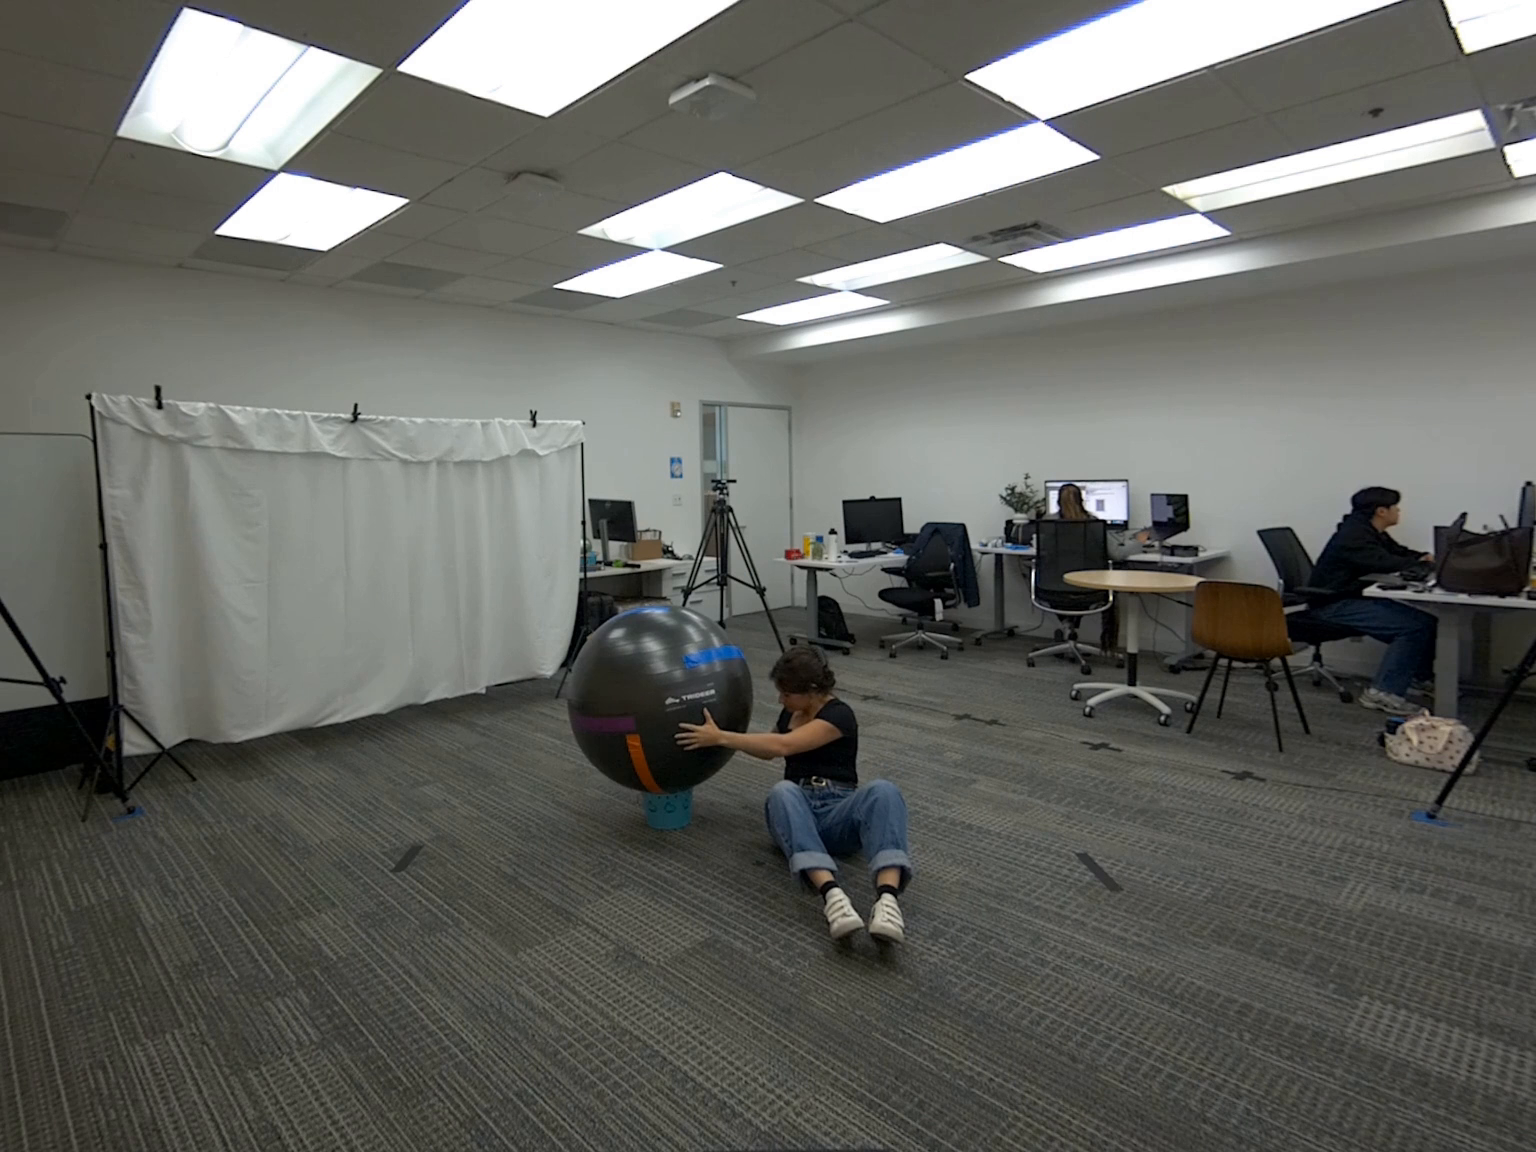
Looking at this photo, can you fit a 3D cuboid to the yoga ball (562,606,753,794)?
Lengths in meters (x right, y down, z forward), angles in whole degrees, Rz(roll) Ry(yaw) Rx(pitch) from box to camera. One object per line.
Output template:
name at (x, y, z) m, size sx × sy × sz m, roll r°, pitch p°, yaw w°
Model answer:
yoga ball at (-0.442, 0.498, 3.501) m, size 0.757 × 0.755 × 0.762 m, roll -1°, pitch 5°, yaw -2°
